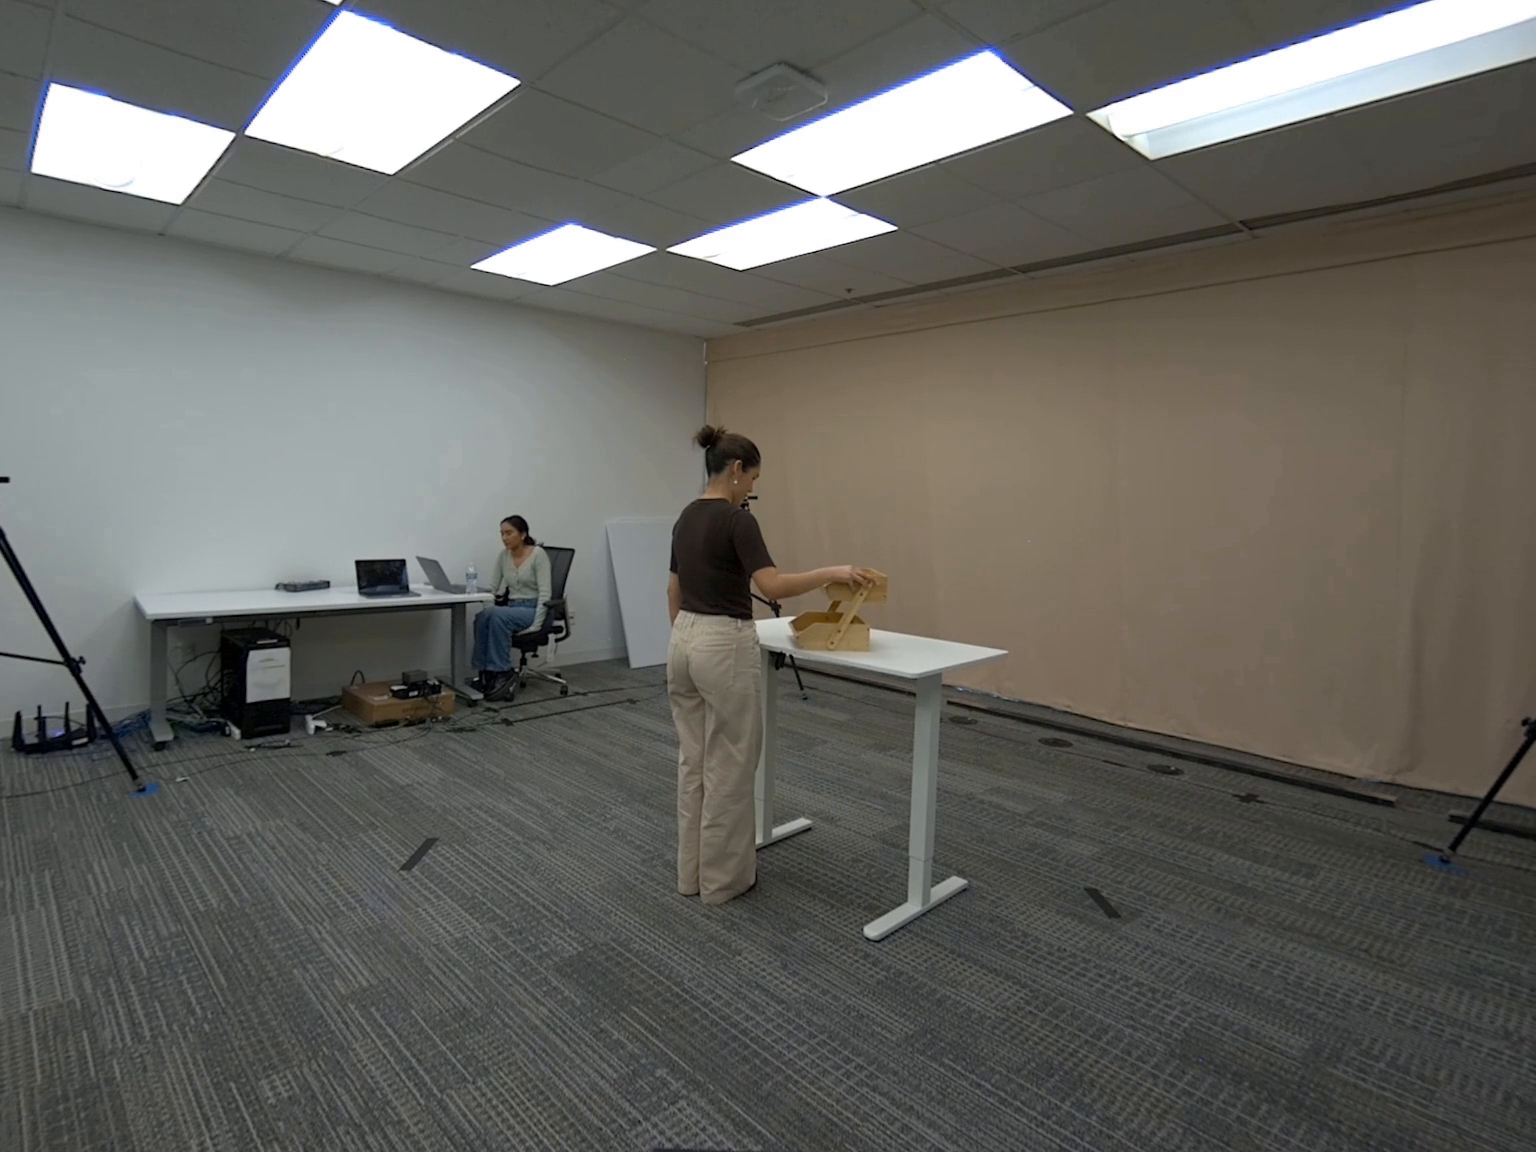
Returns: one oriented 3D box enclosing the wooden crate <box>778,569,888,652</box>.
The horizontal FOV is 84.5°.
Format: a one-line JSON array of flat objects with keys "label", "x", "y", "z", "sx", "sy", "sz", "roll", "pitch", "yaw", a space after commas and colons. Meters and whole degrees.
[{"label": "wooden crate", "x": 0.236, "y": 0.109, "z": 2.983, "sx": 0.301, "sy": 0.272, "sz": 0.326, "roll": 2, "pitch": 6, "yaw": -4}]
